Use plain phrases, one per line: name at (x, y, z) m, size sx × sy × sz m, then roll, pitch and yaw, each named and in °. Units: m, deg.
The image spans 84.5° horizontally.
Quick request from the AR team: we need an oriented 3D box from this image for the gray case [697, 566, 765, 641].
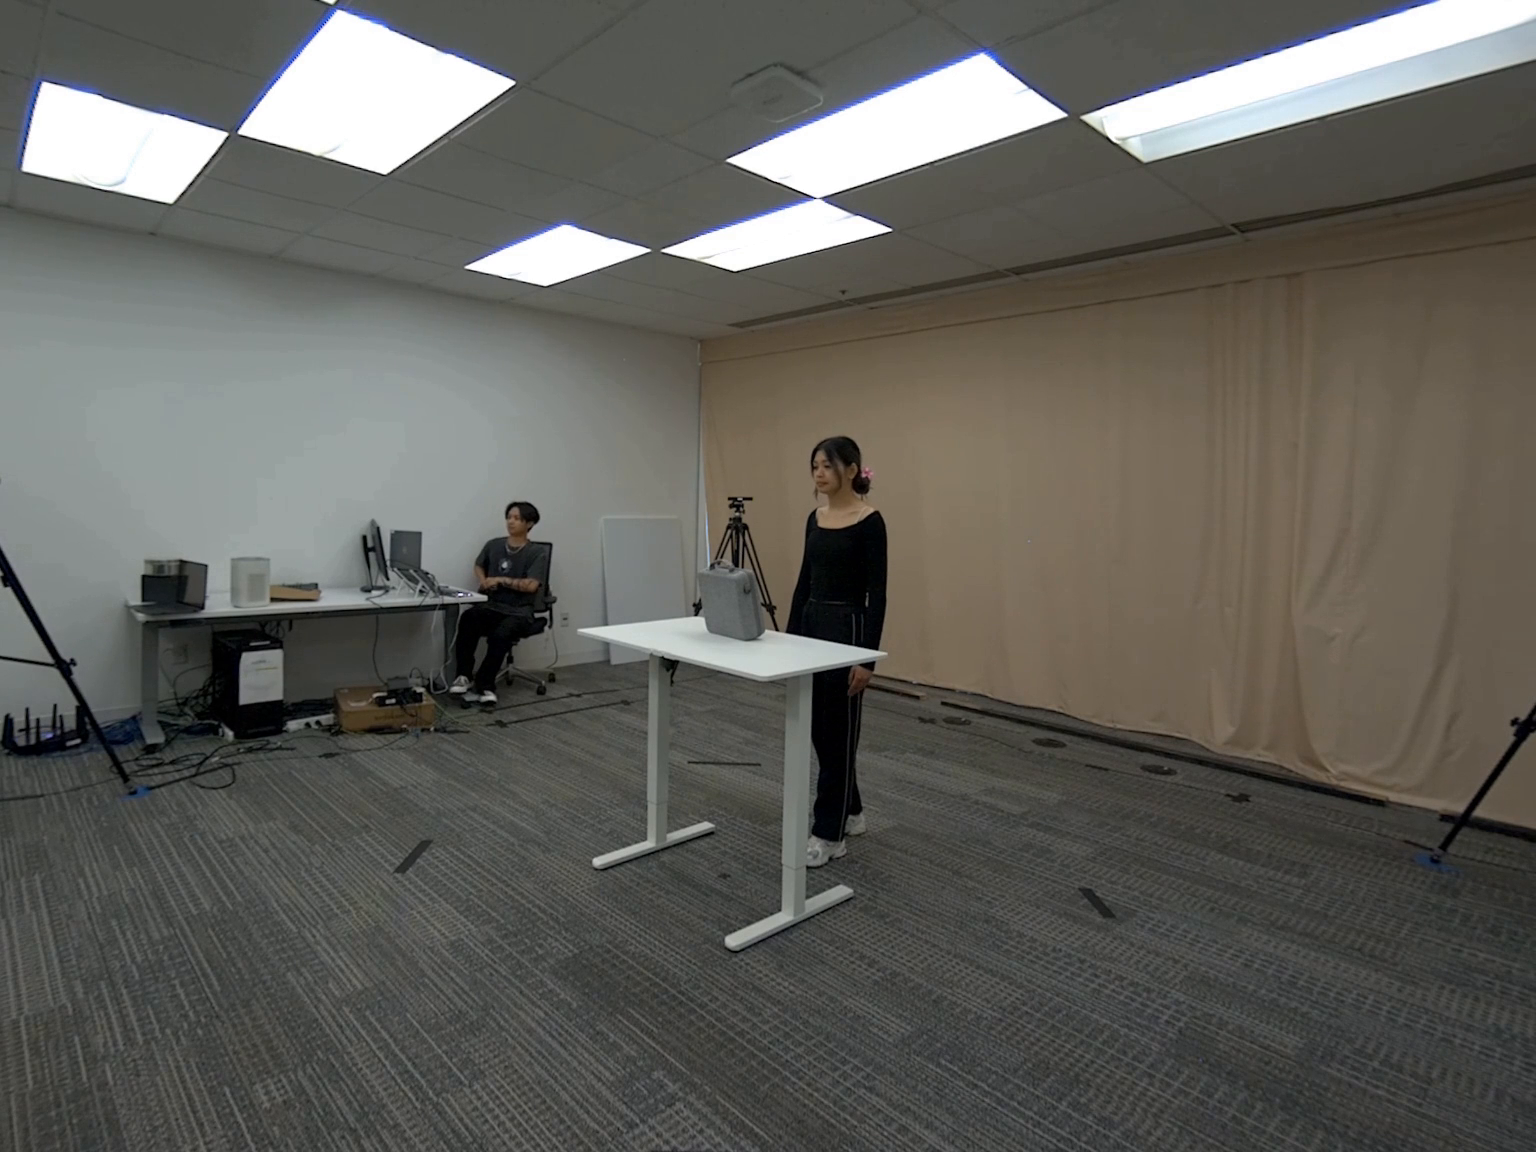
gray case at (-0.143, 0.094, 3.094) m, size 0.103 × 0.258 × 0.263 m, roll -17°, pitch 14°, yaw -35°
